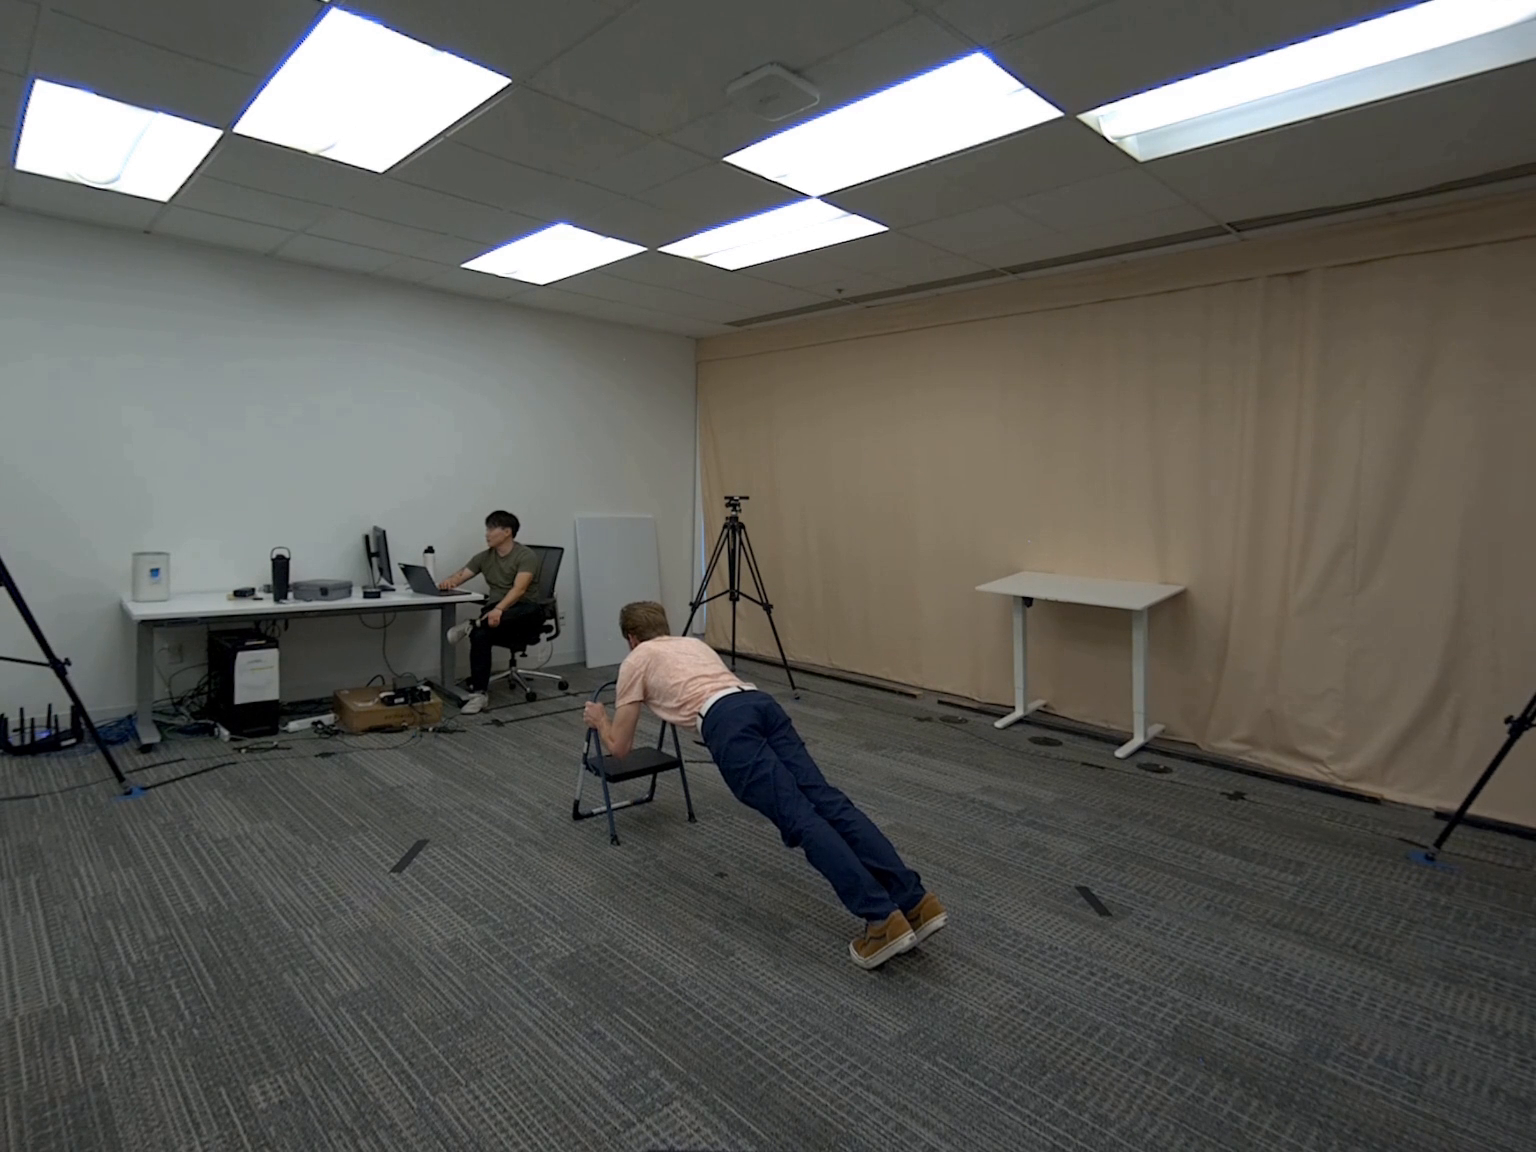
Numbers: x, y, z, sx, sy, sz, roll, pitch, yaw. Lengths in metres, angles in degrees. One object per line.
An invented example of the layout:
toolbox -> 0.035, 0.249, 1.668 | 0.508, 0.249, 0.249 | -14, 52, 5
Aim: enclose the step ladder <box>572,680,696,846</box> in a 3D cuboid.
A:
step ladder -> -0.576, 0.751, 3.596 | 0.421, 0.605, 0.358 | -2, 4, -43
